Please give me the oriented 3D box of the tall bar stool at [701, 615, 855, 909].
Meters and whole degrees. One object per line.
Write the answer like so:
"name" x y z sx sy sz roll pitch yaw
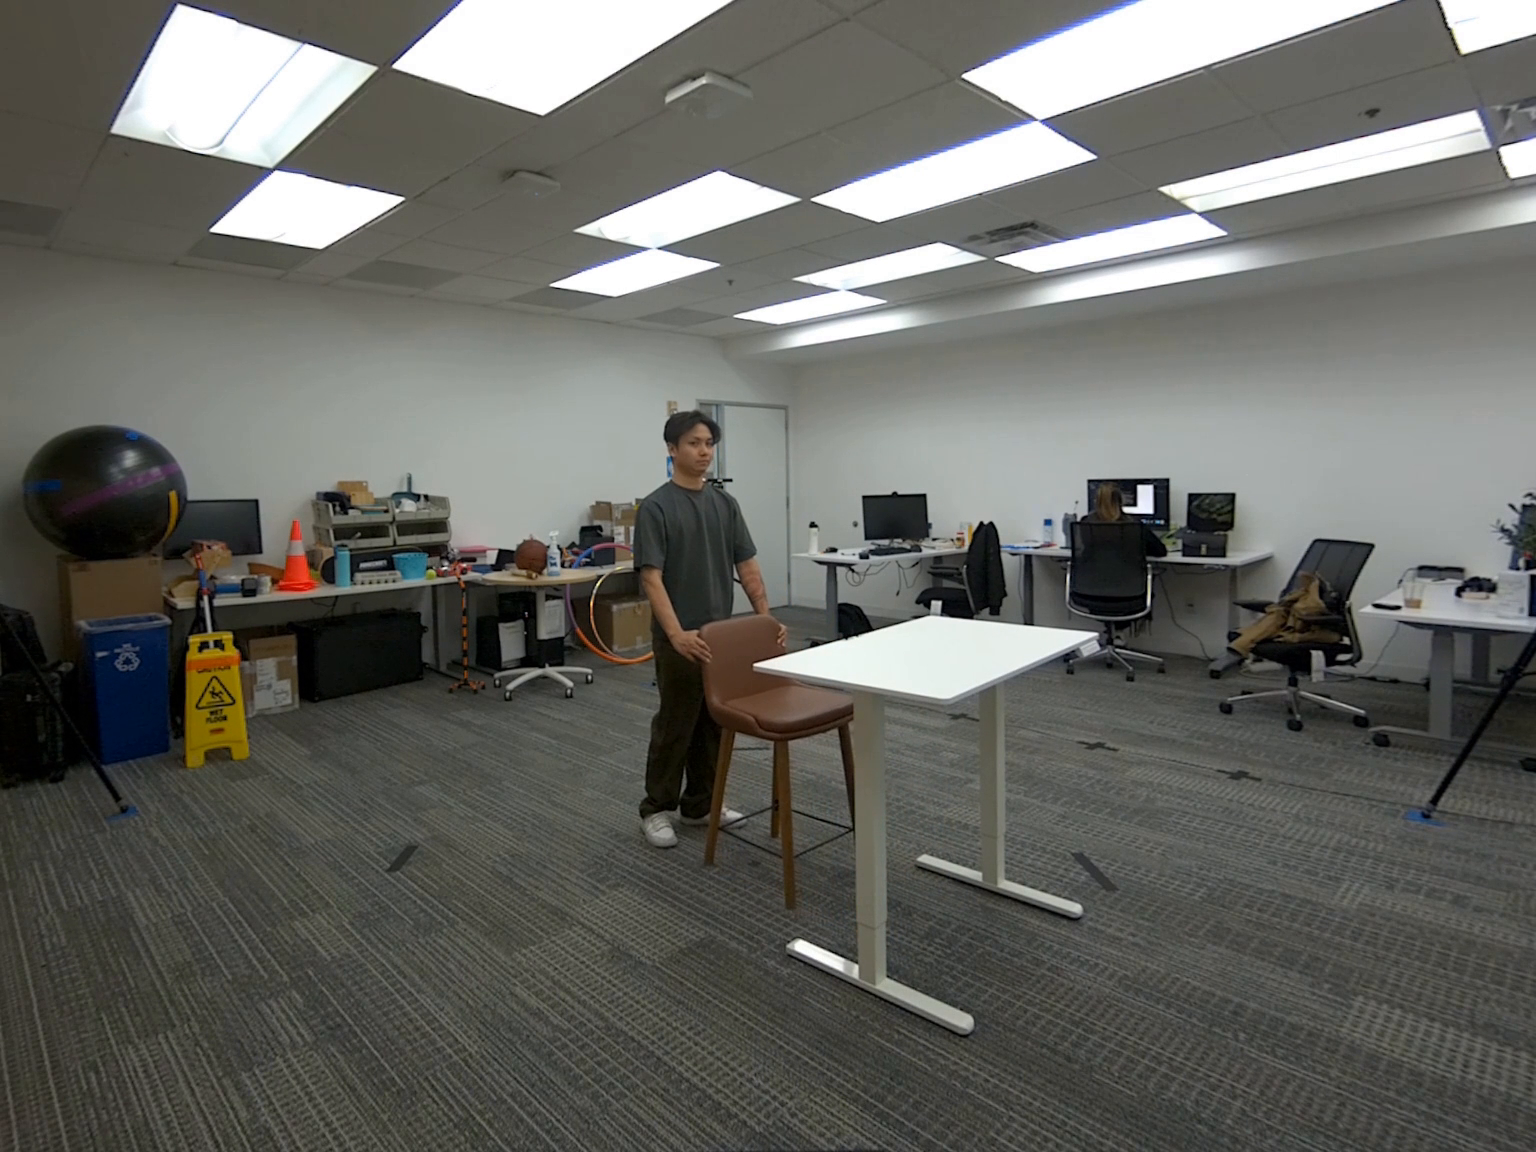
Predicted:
"tall bar stool" 0.044 0.607 3.051 0.444 0.888 0.481 -5 3 -43
